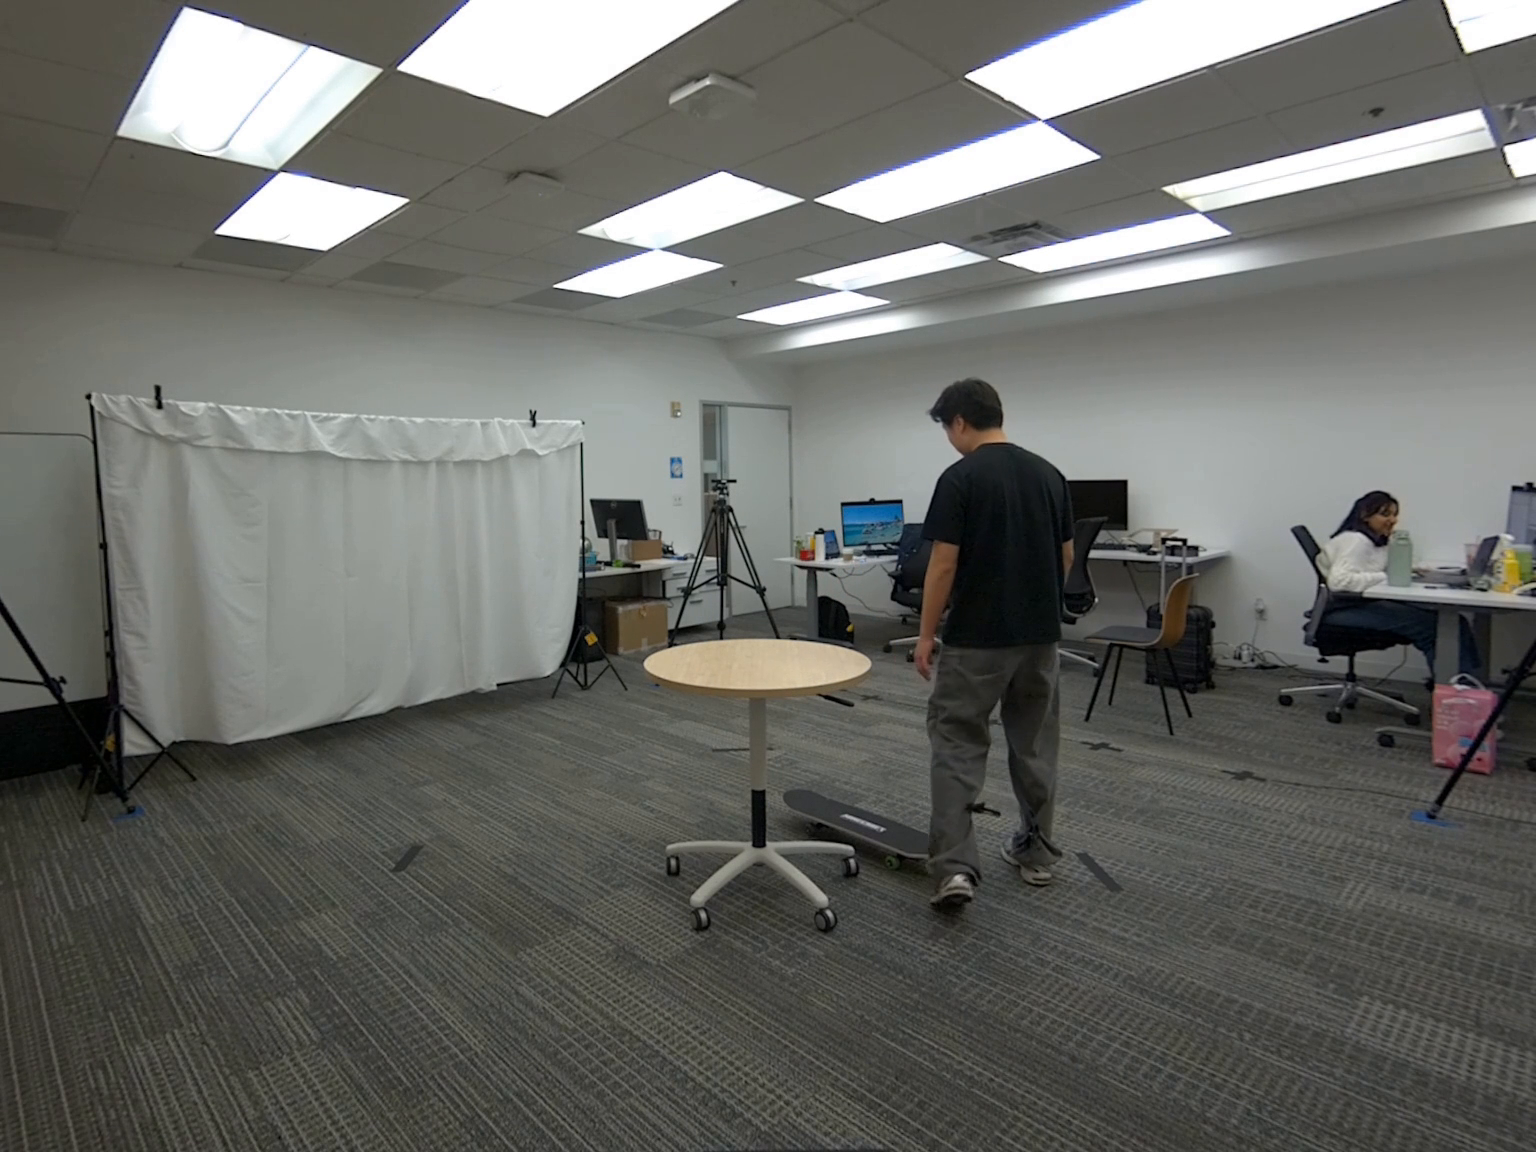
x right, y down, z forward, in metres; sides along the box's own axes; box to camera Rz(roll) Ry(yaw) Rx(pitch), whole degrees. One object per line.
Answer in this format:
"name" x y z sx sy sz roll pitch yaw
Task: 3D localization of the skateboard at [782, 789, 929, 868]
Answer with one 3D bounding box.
"skateboard" 0.372 0.977 3.238 0.188 0.110 0.810 -6 8 -41
